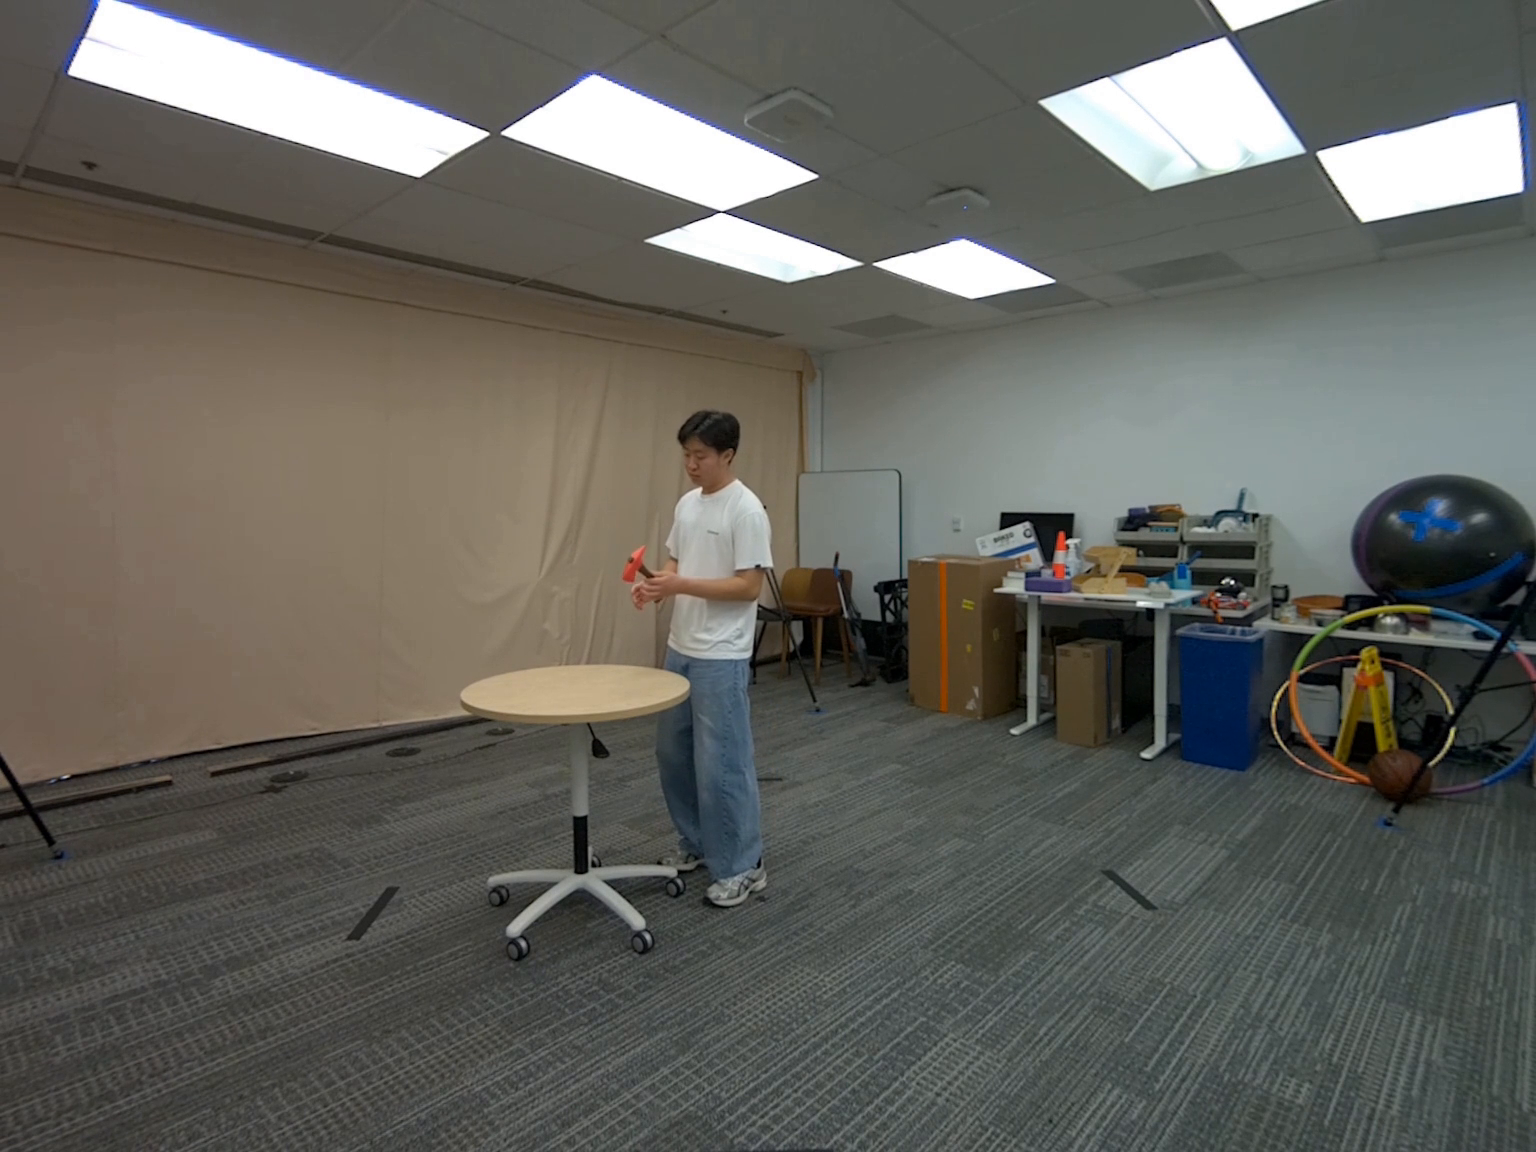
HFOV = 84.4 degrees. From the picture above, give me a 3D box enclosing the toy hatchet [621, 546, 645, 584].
[{"bbox_3d":[-0.435,0.027,2.908,0.030,0.262,0.130,18,54,31],"label":"toy hatchet"}]
